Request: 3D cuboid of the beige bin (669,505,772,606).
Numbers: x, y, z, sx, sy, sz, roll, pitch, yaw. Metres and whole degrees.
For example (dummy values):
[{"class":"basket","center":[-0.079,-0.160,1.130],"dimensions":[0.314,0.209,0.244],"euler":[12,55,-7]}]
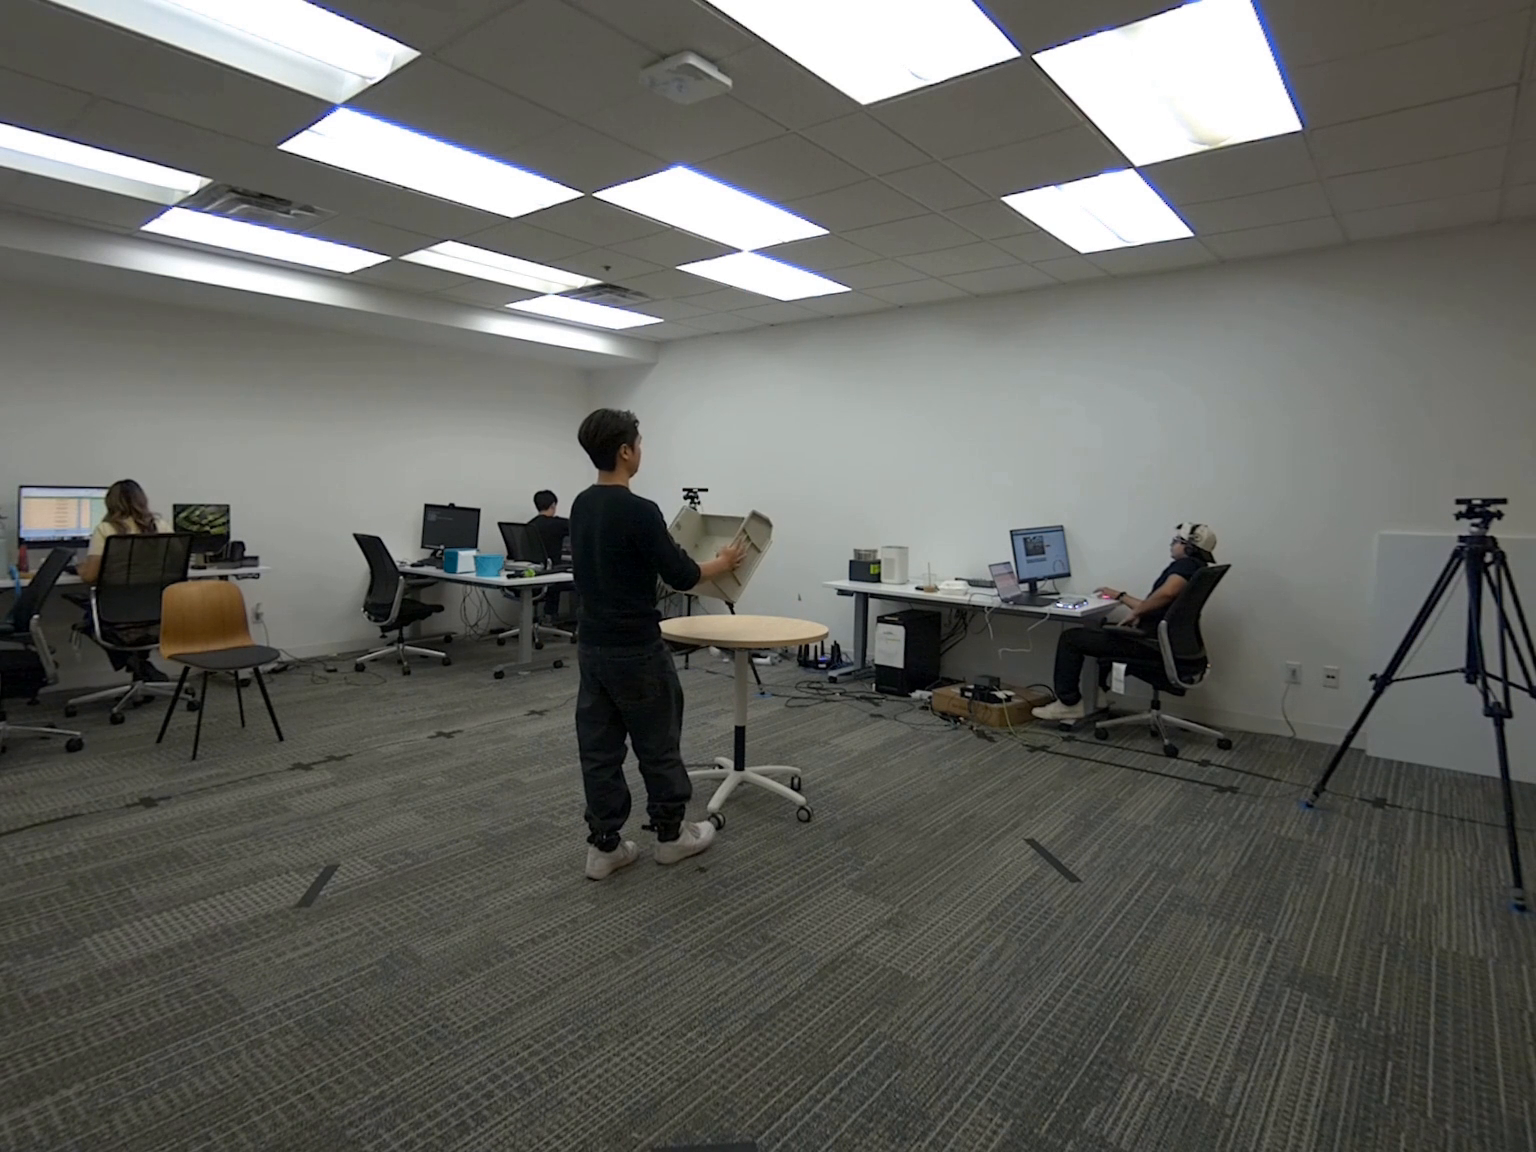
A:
[{"class":"beige bin","center":[-0.248,-0.107,3.478],"dimensions":[0.437,0.379,0.181],"euler":[7,-33,43]}]
